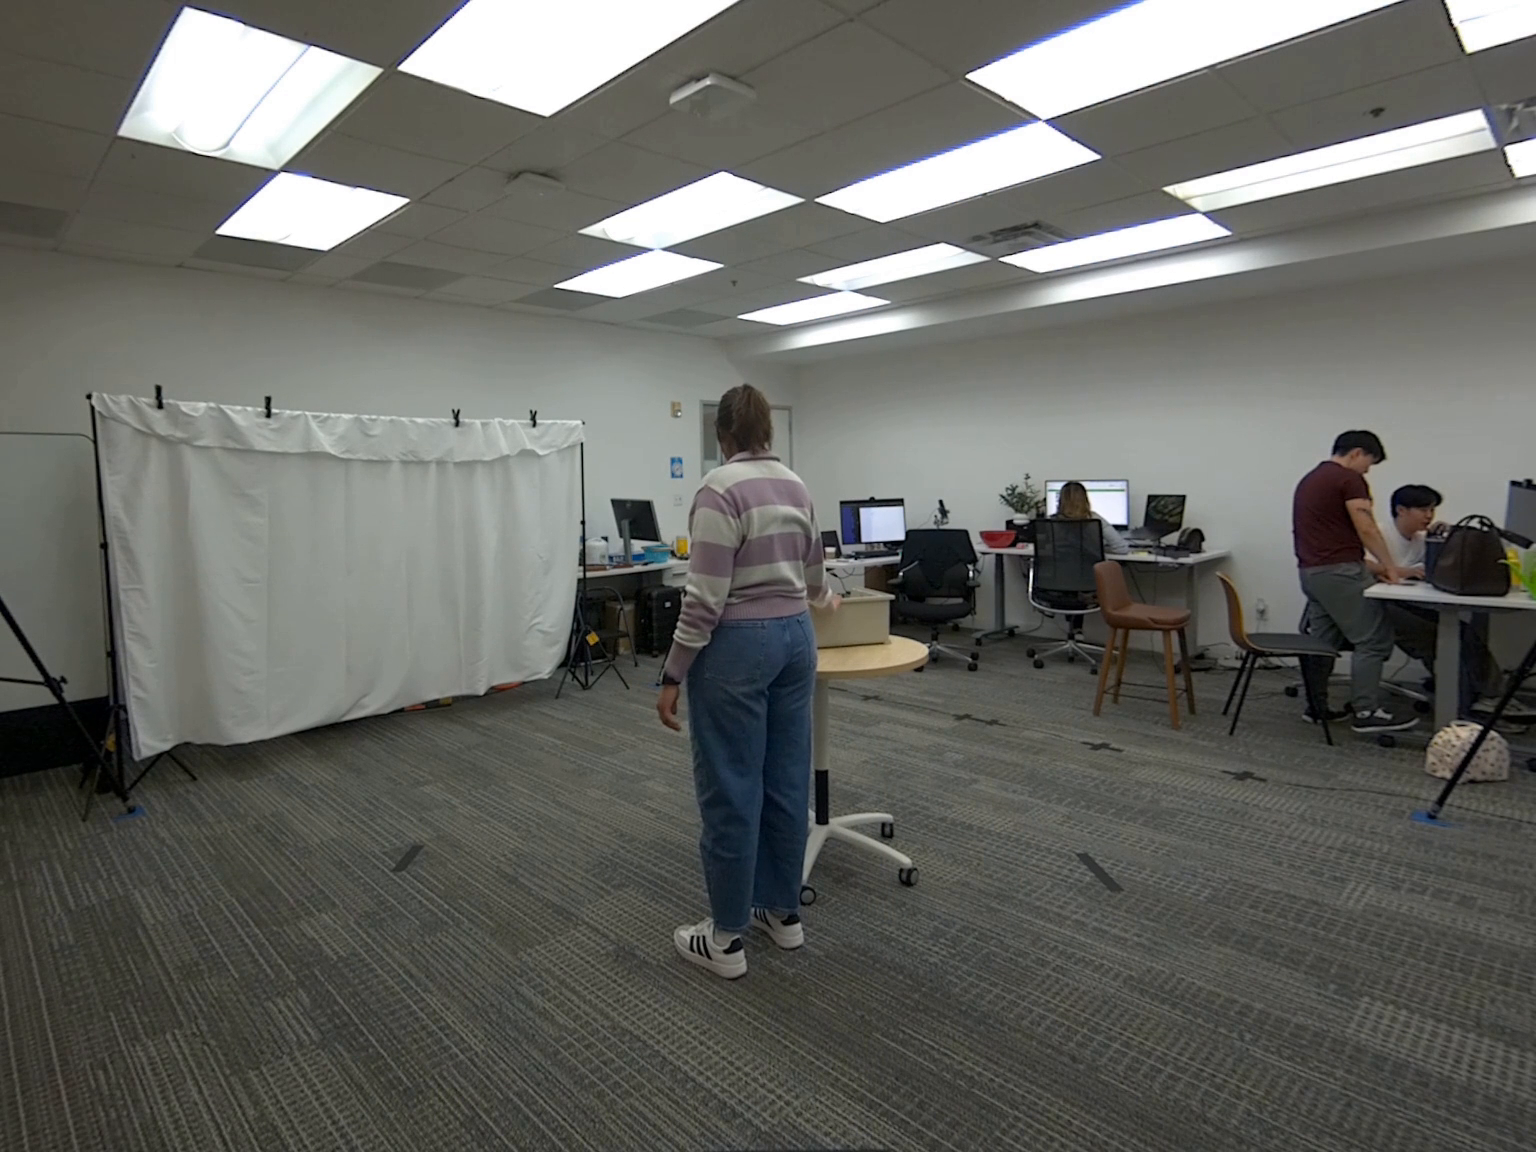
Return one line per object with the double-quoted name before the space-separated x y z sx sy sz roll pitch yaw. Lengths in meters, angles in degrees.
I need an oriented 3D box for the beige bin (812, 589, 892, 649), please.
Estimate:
"beige bin" 0.203 0.157 3.243 0.415 0.188 0.386 -3 6 -20
